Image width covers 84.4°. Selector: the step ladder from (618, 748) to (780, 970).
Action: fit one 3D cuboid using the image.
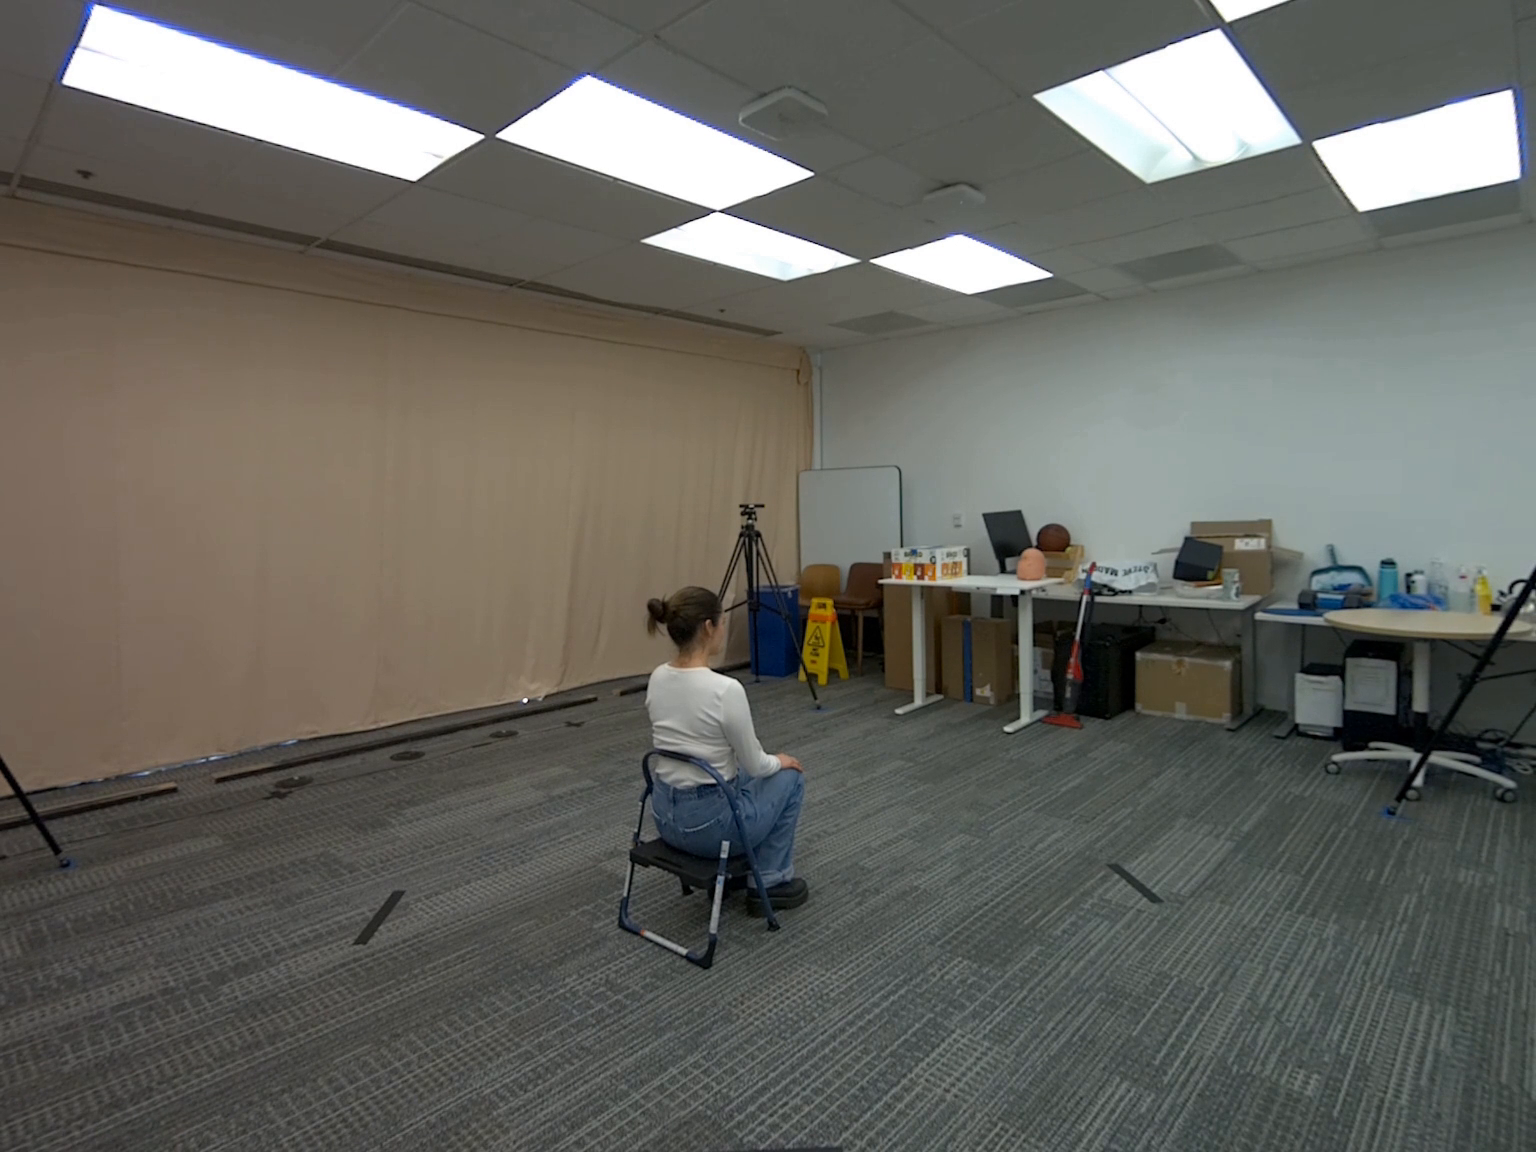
[{"bbox_3d":[-0.241,0.858,2.766,0.445,0.605,0.339,2,4,40],"label":"step ladder"}]
